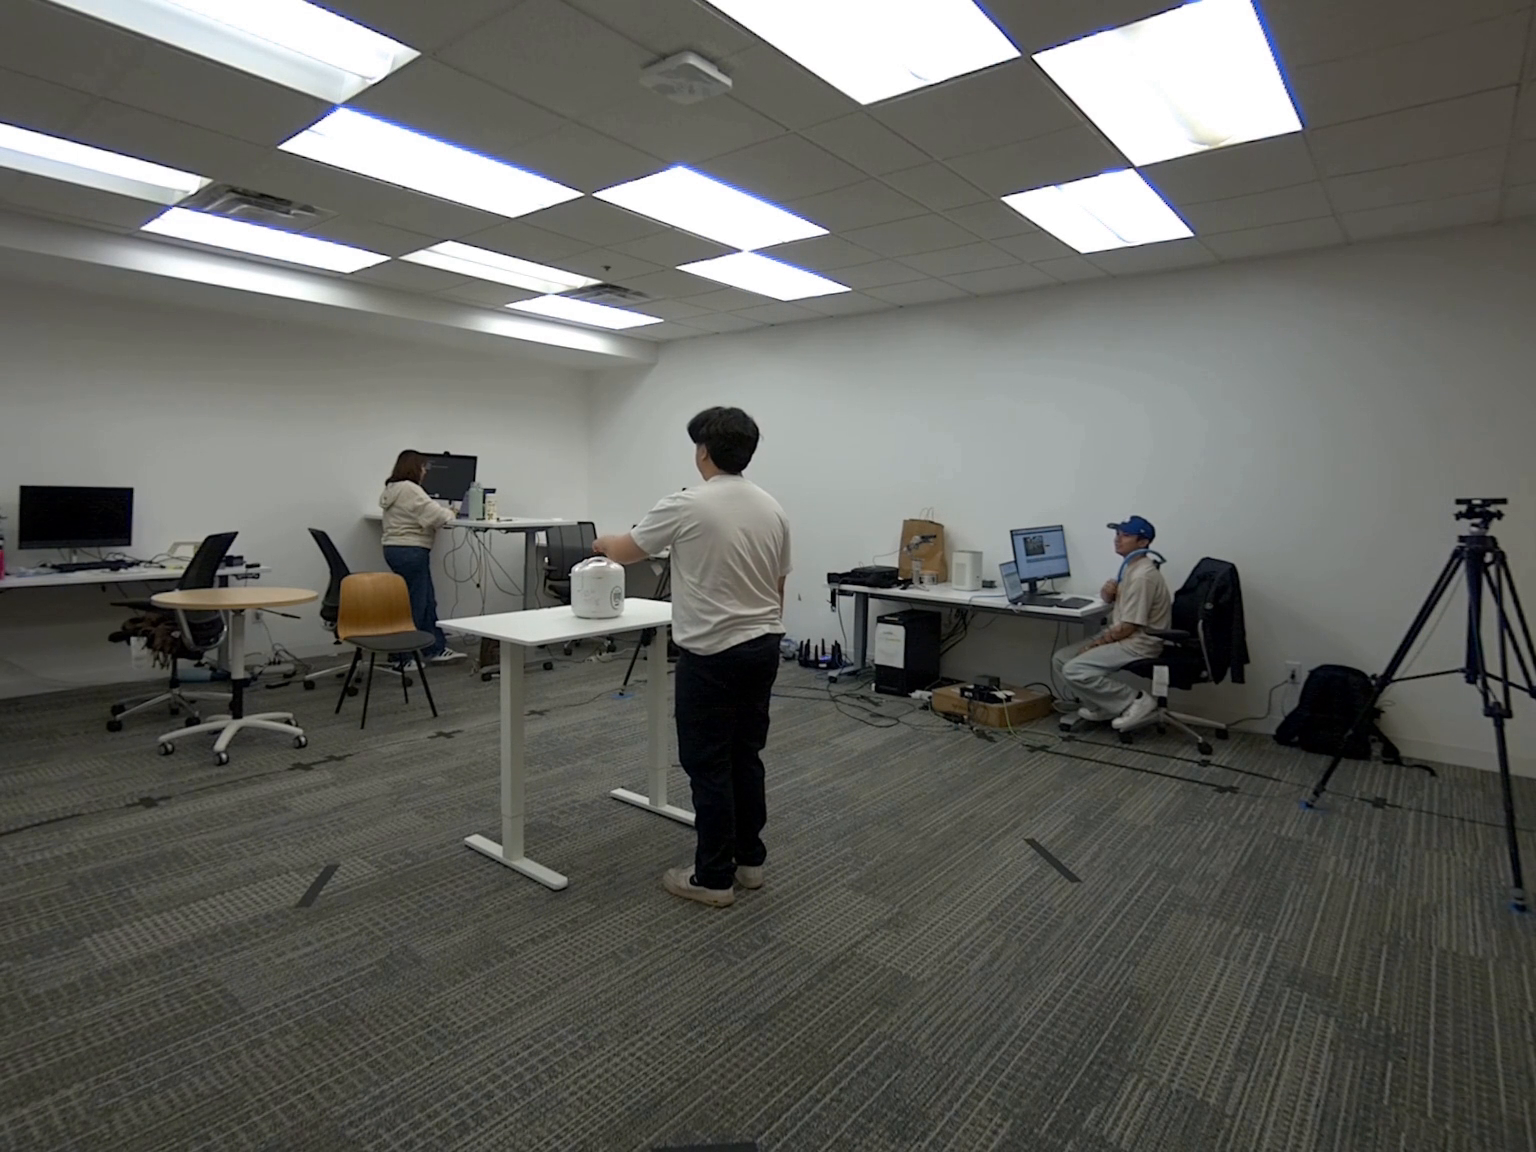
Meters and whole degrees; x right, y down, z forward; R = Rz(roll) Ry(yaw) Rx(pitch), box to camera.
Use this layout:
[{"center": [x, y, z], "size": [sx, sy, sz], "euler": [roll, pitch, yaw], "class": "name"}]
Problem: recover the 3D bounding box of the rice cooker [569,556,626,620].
[{"center": [-0.680, 0.039, 3.349], "size": [0.224, 0.232, 0.214], "euler": [3, 5, 38], "class": "rice cooker"}]
